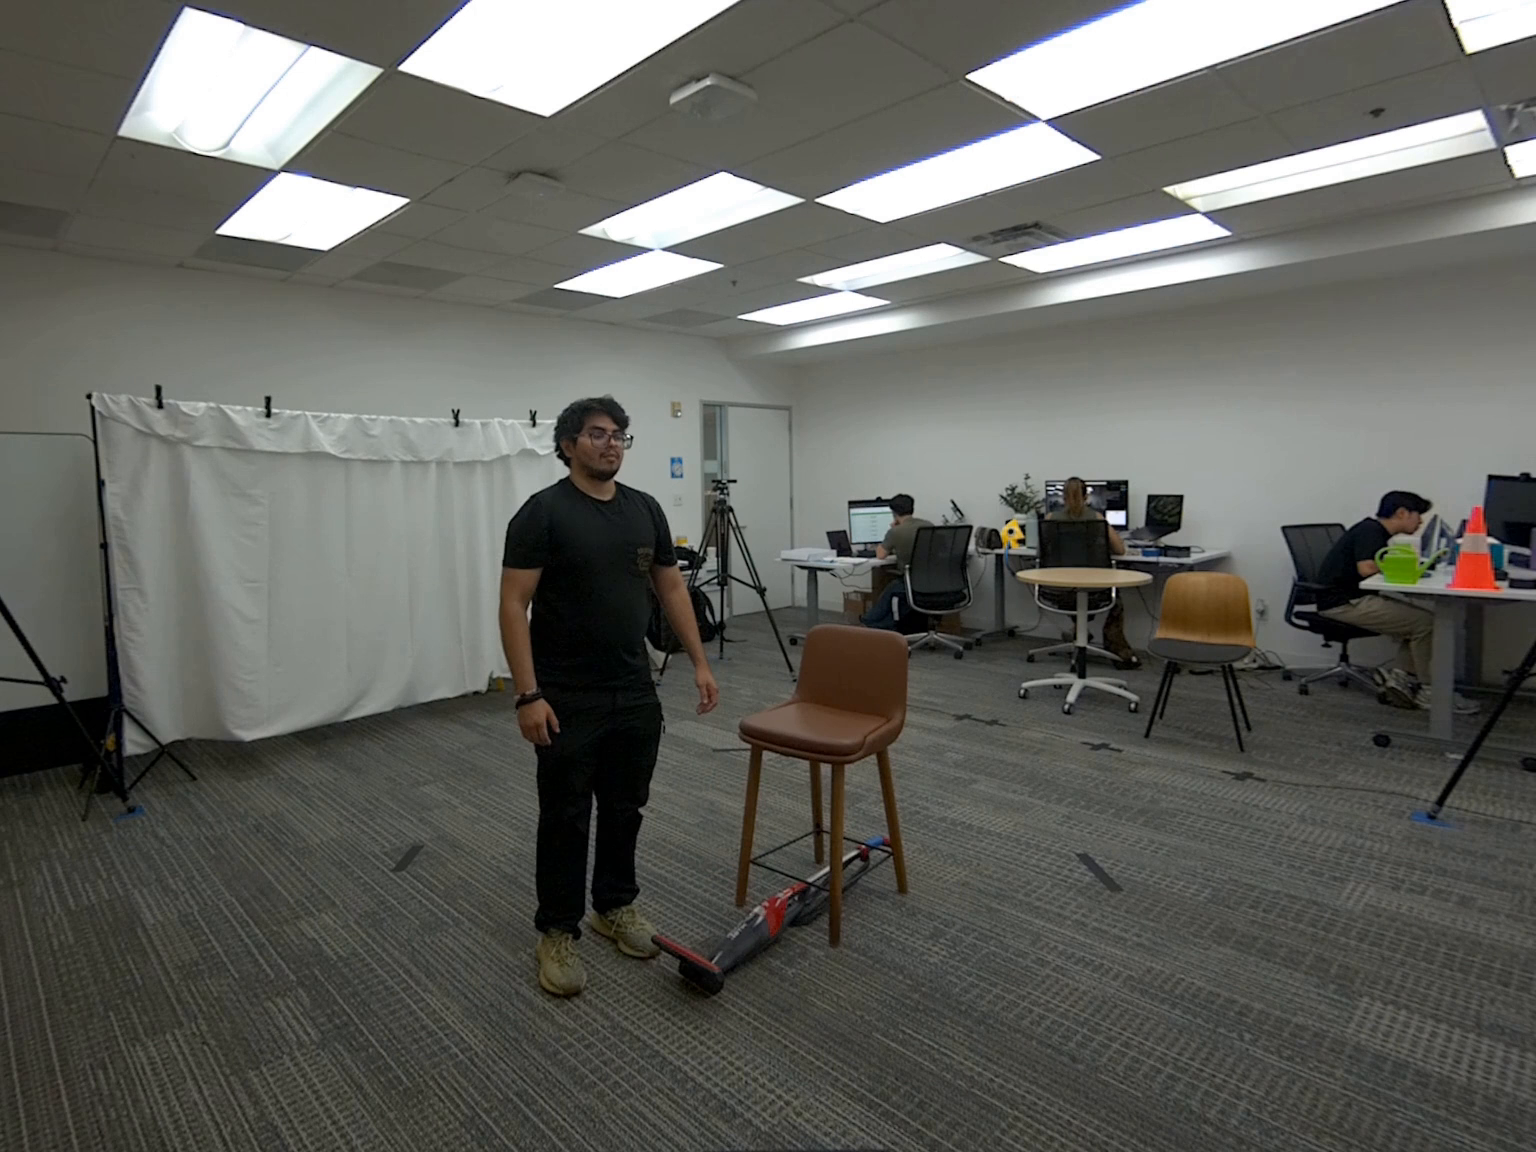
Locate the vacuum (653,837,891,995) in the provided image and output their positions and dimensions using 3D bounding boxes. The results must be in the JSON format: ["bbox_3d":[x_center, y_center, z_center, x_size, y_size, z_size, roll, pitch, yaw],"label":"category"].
[{"bbox_3d":[0.132,1.034,2.722,0.260,0.143,1.022,5,9,41],"label":"vacuum"}]
